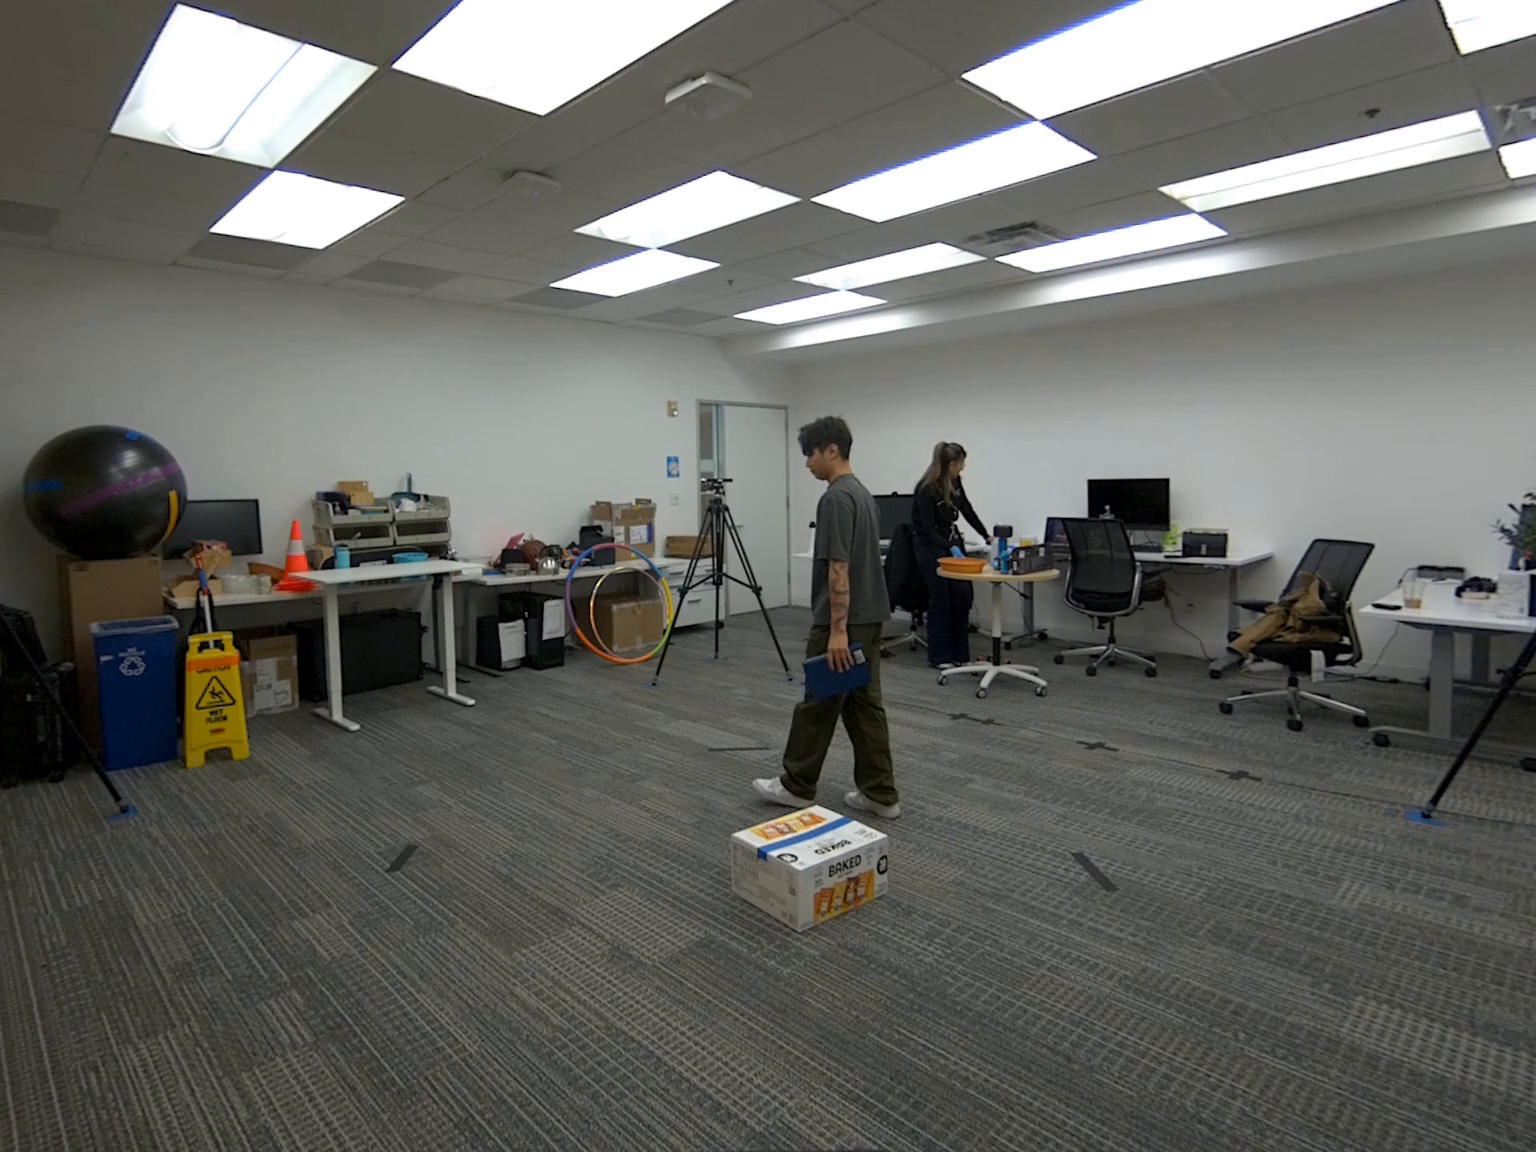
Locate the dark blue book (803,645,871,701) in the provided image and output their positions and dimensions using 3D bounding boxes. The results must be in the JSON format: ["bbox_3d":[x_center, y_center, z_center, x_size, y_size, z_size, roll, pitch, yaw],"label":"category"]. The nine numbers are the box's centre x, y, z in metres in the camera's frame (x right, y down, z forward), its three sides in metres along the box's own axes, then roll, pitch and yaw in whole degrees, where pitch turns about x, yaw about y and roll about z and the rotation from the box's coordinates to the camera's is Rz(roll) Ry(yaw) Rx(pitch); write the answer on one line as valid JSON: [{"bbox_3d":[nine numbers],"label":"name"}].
[{"bbox_3d":[0.270,0.380,3.359,0.245,0.161,0.046,-16,10,0],"label":"dark blue book"}]
